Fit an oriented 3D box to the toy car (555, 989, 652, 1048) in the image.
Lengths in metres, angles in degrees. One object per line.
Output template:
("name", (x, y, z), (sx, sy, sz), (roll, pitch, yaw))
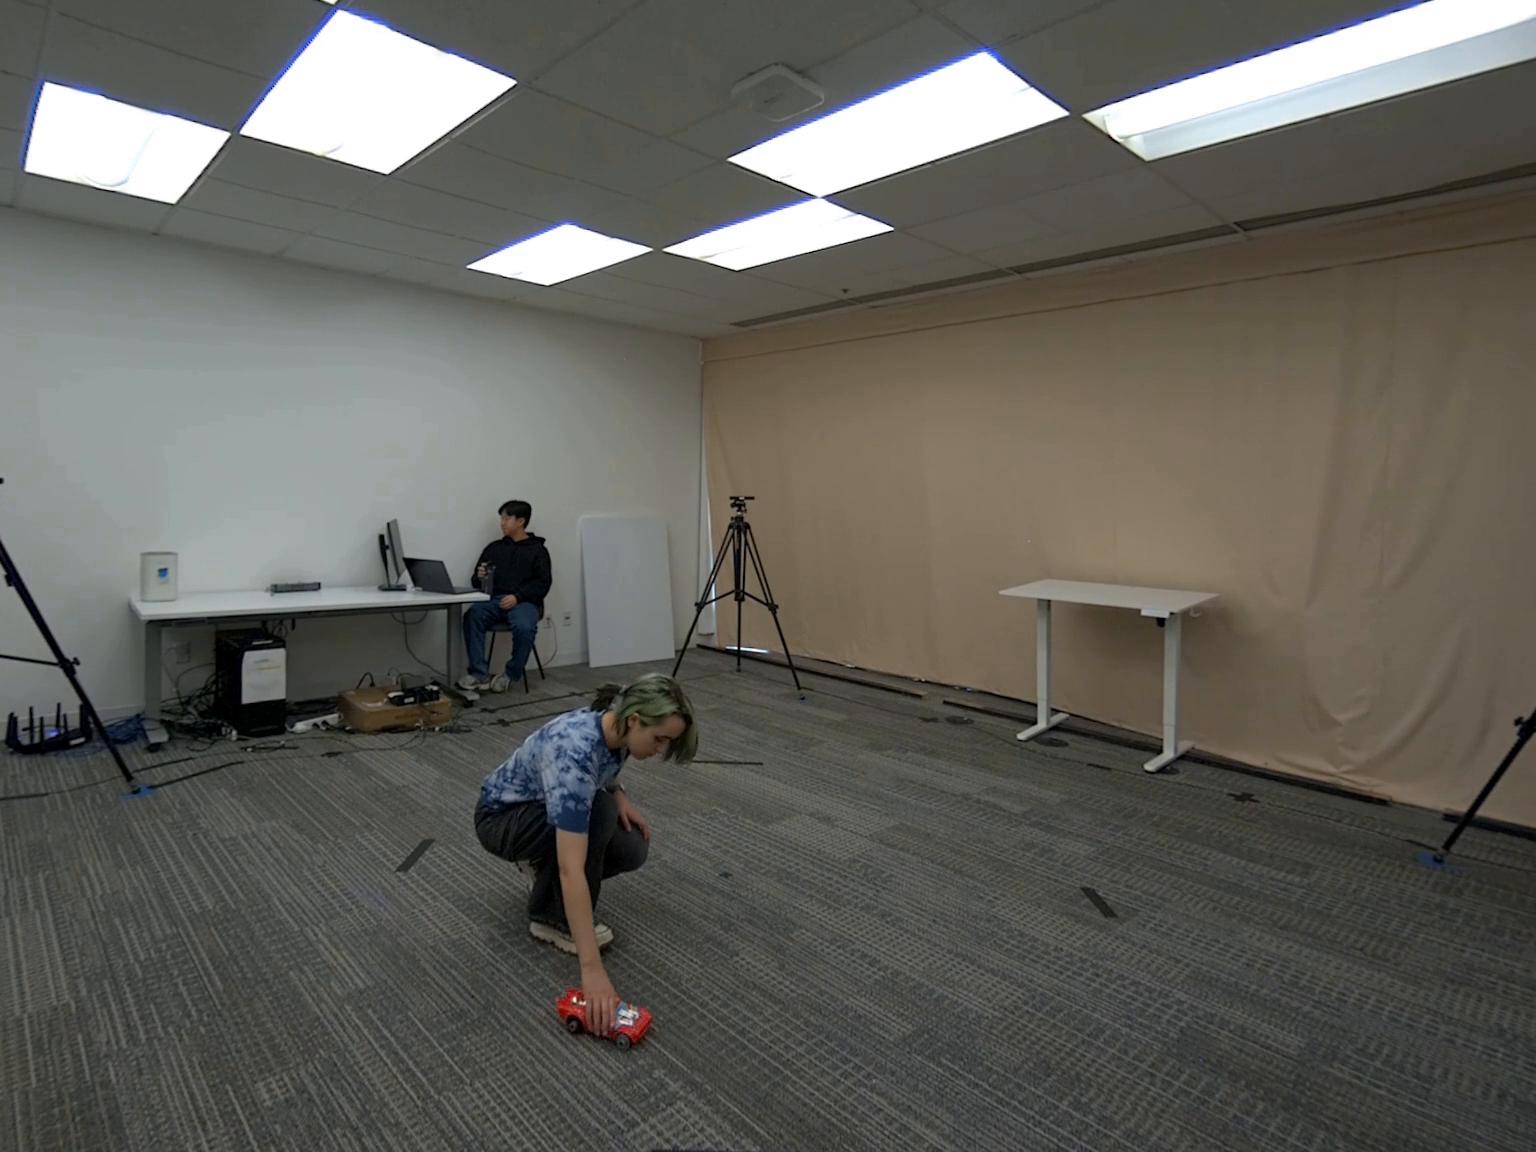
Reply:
("toy car", (-0.441, 1.155, 2.188), (0.259, 0.083, 0.128), (15, 10, 20))
